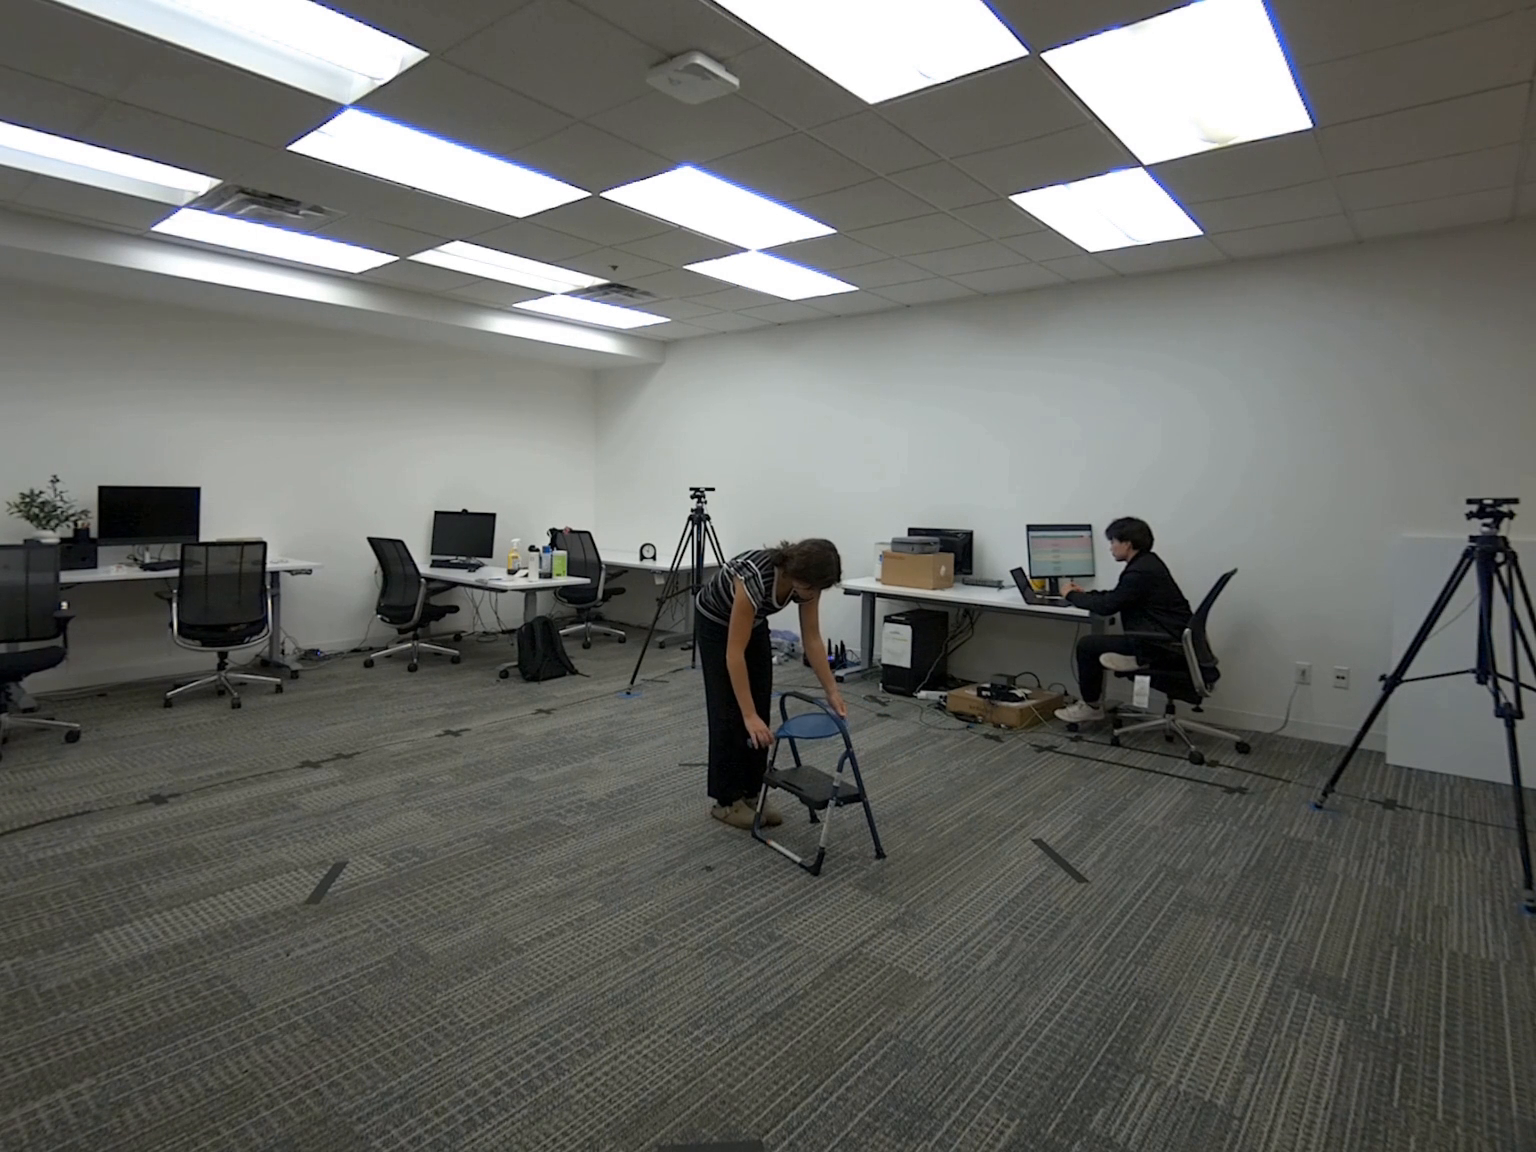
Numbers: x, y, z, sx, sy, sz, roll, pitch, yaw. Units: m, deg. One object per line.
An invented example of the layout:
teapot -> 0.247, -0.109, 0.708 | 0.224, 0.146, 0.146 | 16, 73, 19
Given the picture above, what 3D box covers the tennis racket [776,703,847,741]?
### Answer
tennis racket -> 0.094, 0.603, 3.321 | 0.423, 0.031, 0.221 | -8, 16, -27
